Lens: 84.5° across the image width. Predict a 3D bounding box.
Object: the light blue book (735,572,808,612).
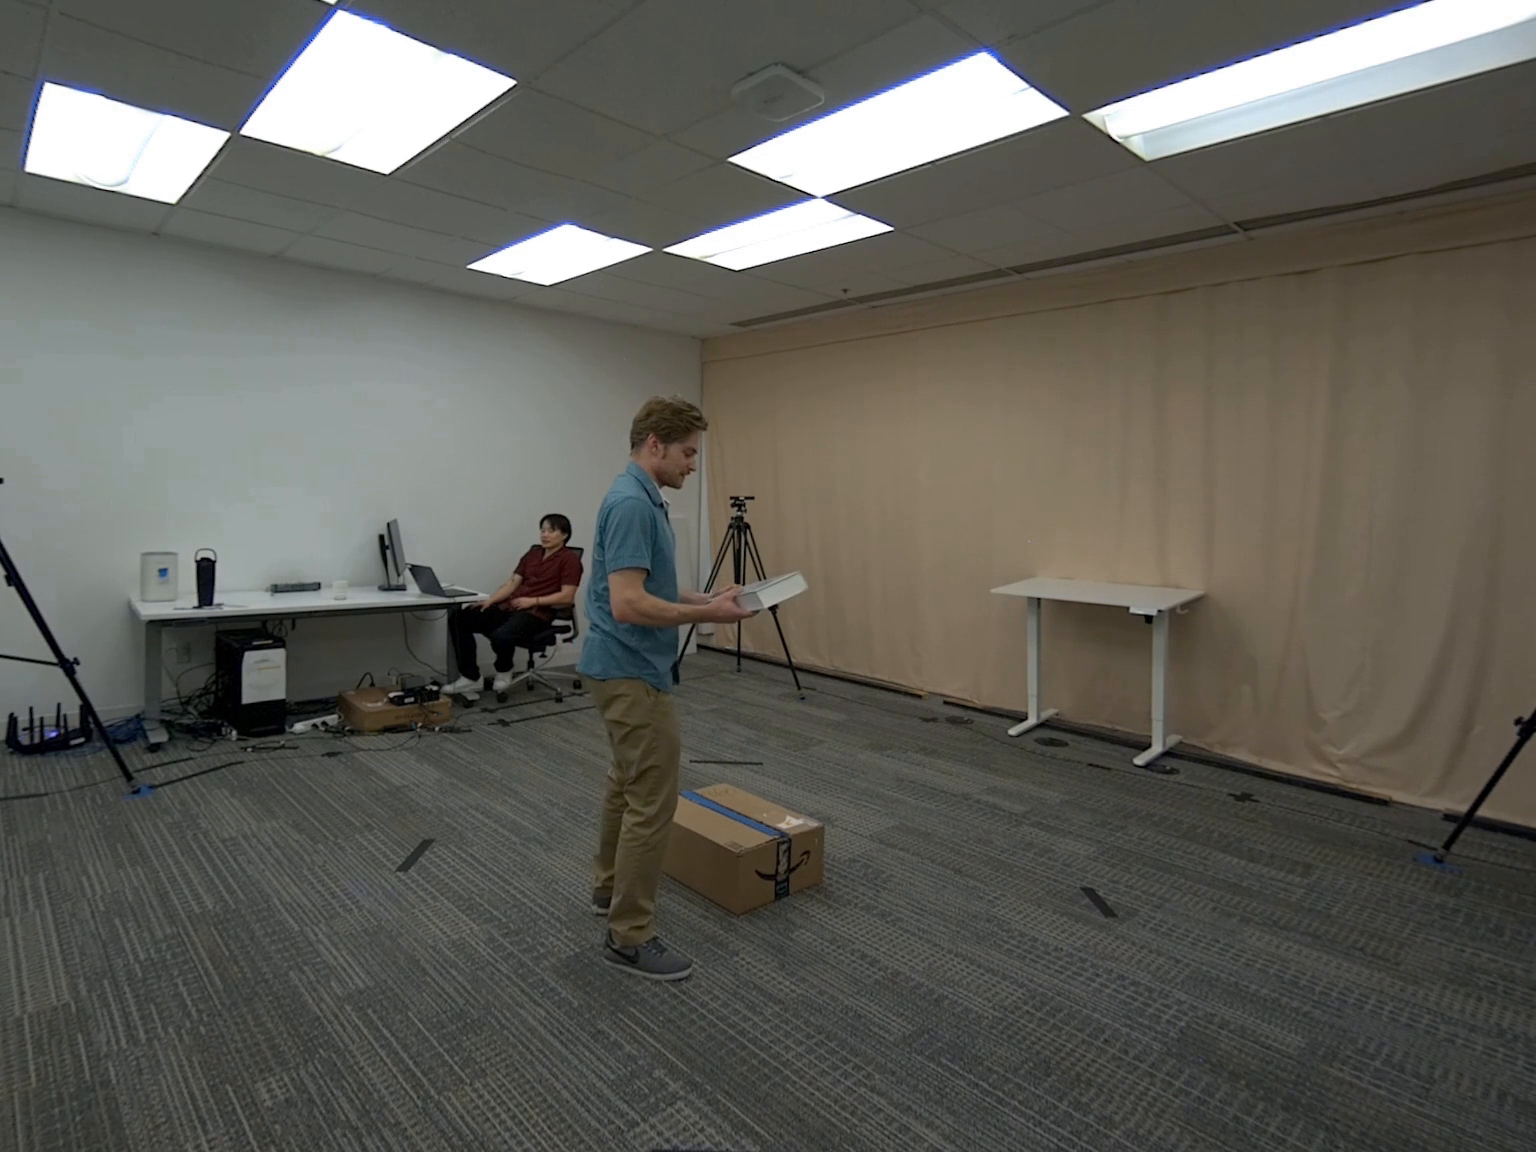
[{"bbox_3d":[-0.043,0.057,2.518,0.189,0.059,0.265,-23,6,-40],"label":"light blue book"}]
